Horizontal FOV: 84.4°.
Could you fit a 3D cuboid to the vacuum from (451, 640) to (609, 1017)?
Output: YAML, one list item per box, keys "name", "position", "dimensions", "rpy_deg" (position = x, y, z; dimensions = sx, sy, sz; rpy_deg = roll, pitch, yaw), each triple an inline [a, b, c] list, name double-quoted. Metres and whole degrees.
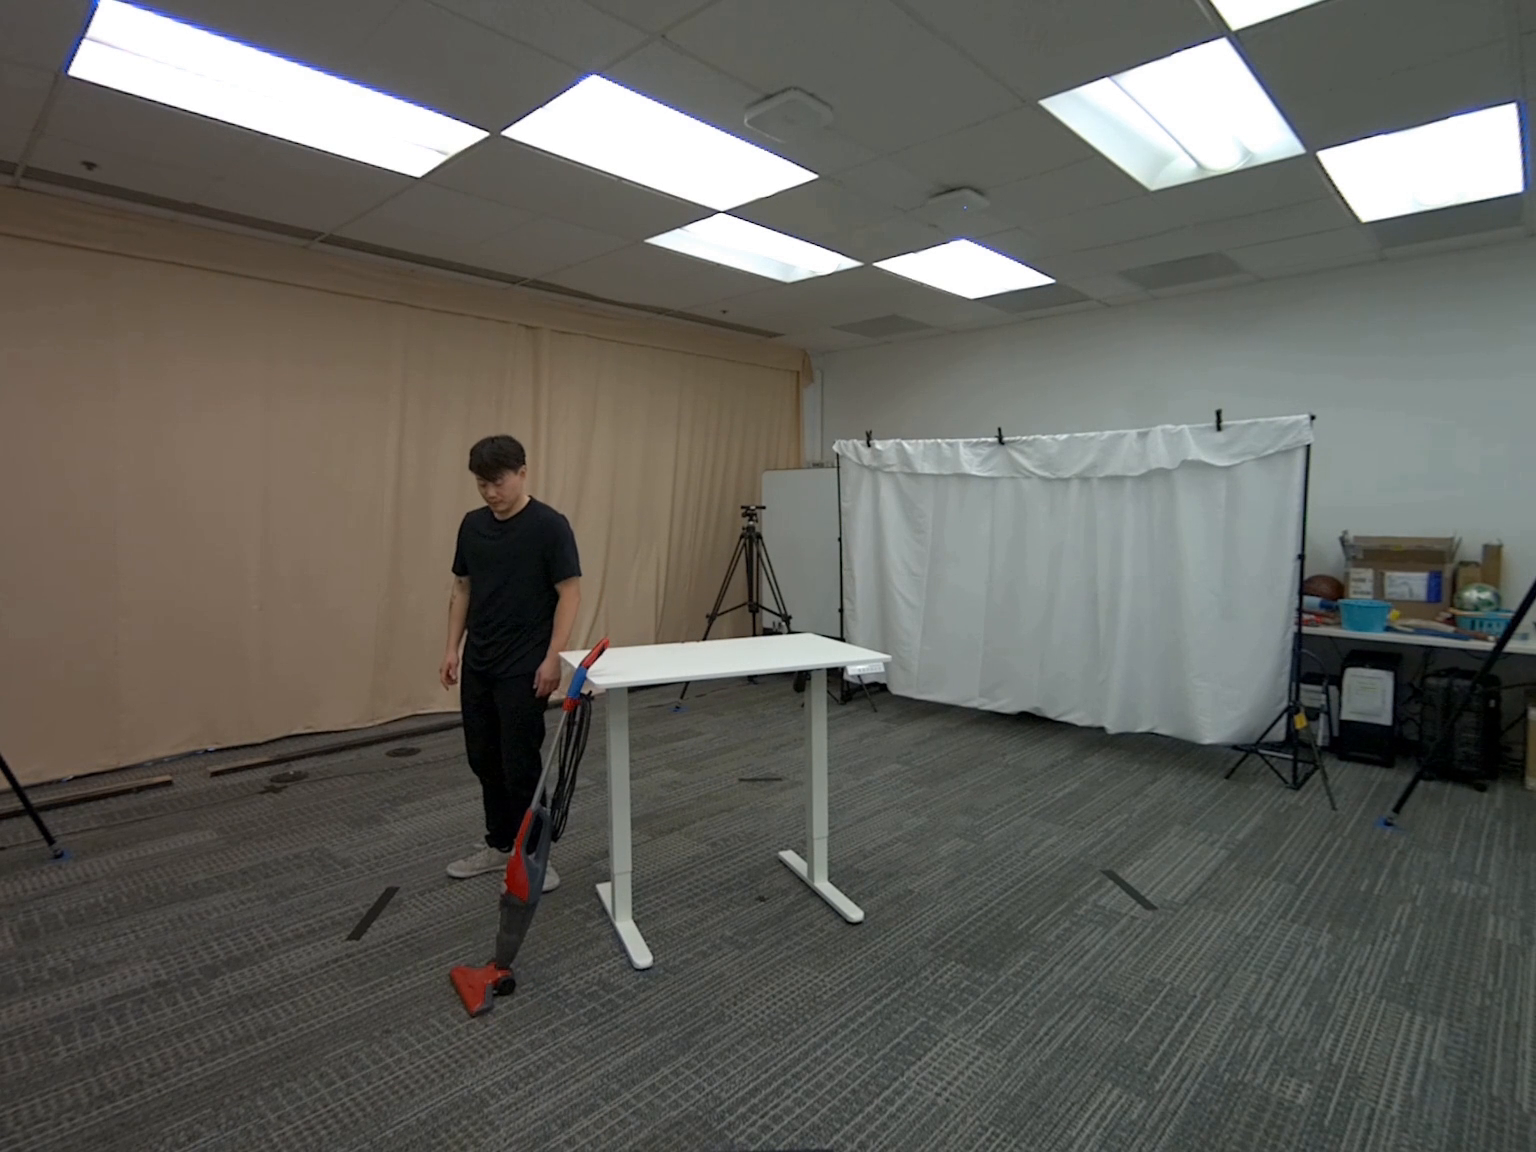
- name: "vacuum"
  position: [-0.664, 0.704, 2.503]
  dimensions: [0.139, 1.052, 0.261]
  rpy_deg: [24, -11, -35]
